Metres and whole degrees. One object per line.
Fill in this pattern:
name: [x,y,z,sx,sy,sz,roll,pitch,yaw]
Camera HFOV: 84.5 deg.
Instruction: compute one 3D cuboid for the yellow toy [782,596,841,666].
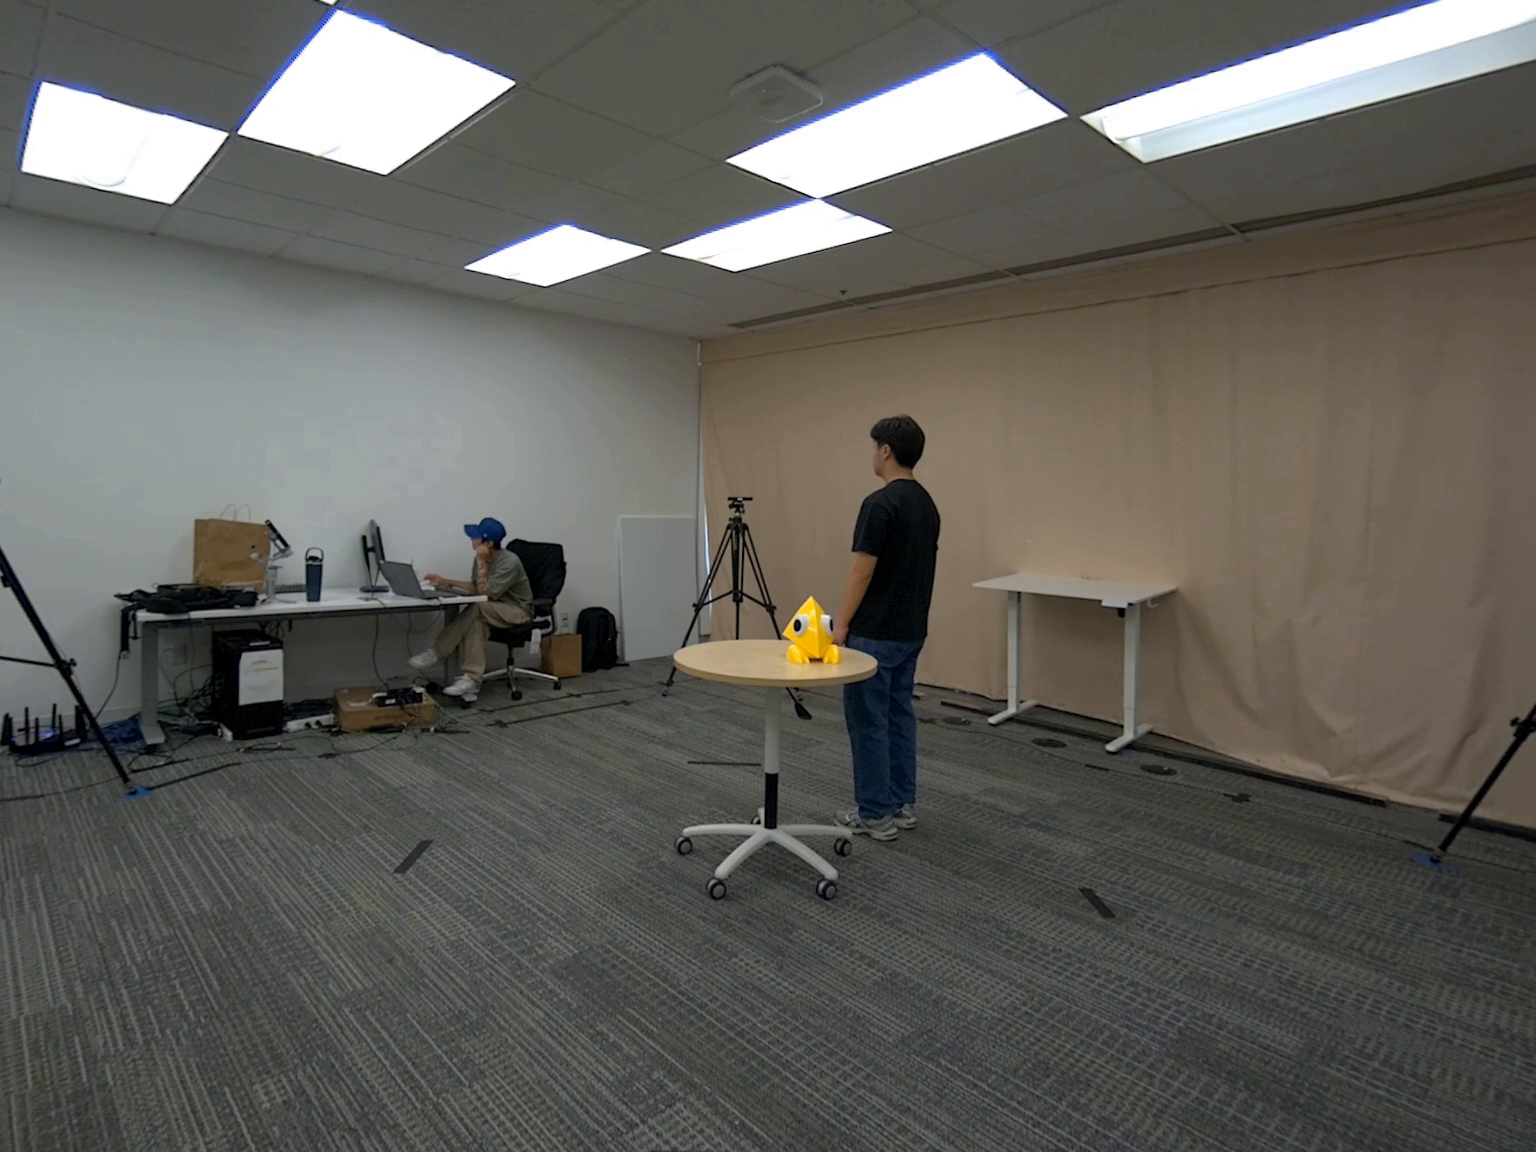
yellow toy: [0.164,0.199,3.153,0.204,0.230,0.194,1,3,-7]
